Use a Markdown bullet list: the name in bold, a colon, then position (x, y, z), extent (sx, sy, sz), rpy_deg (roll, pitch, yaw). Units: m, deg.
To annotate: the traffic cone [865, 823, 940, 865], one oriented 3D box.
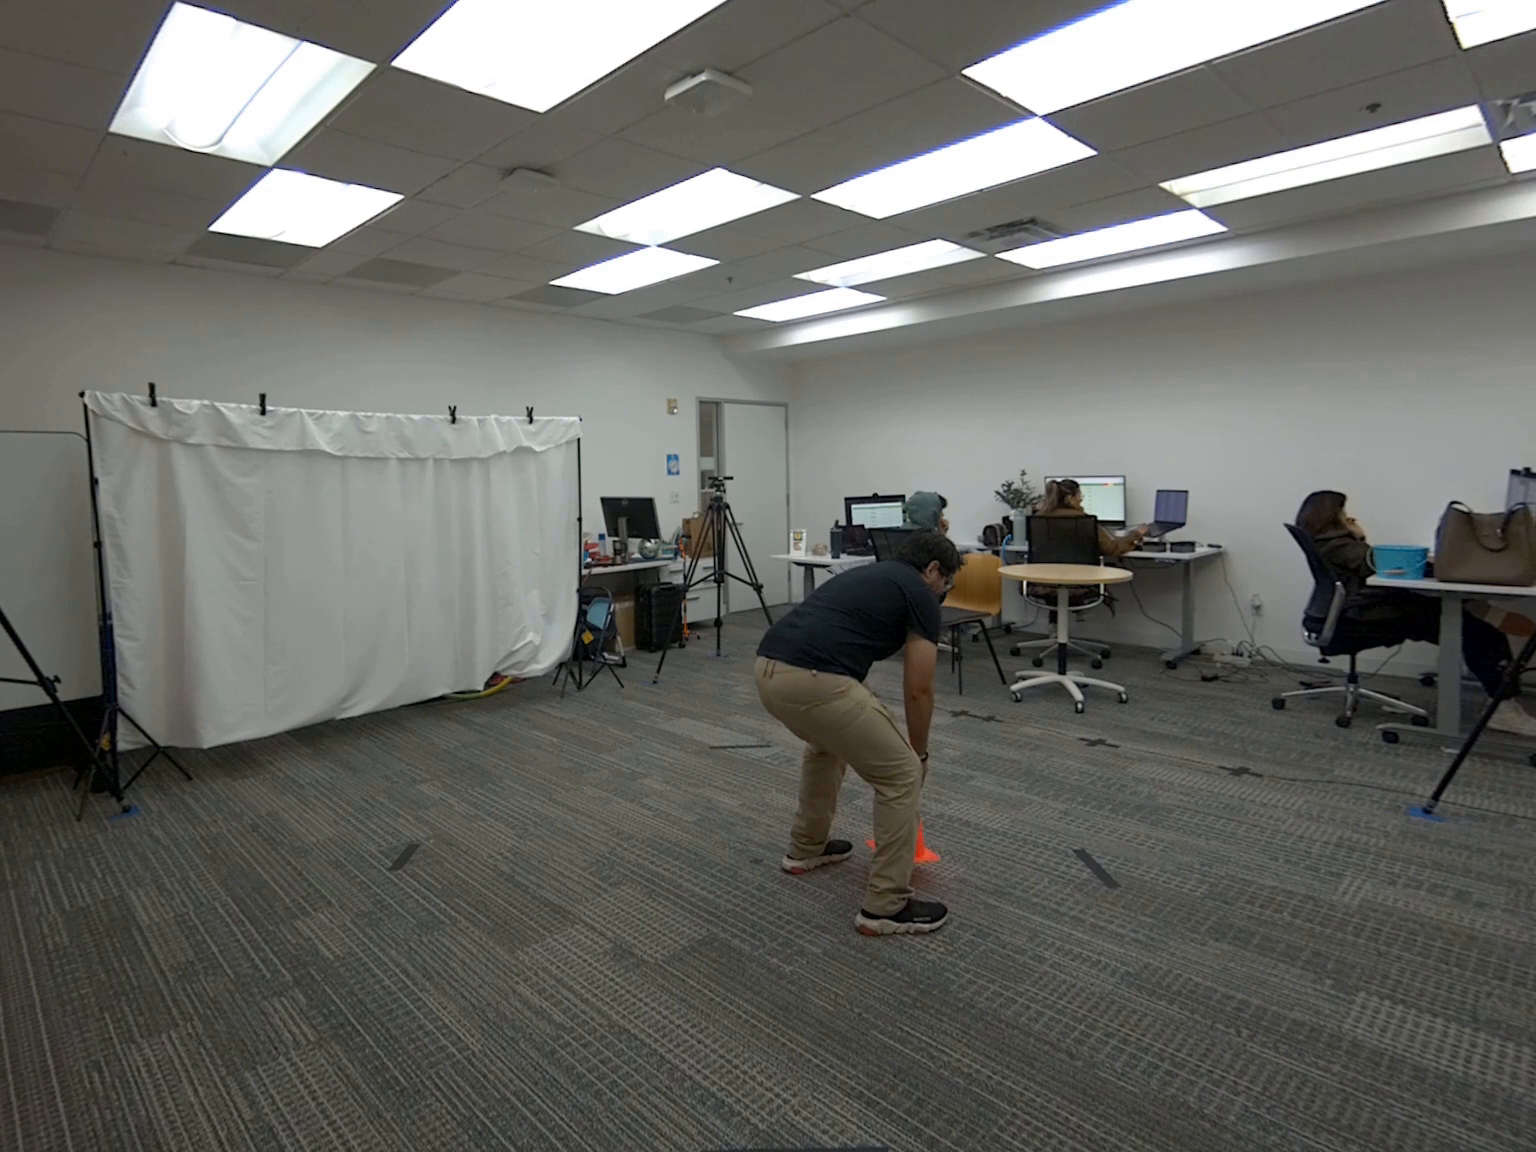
- **traffic cone**: position (0.501, 0.778, 2.975), extent (0.202, 0.383, 0.206), rpy_deg (4, 1, -14)
